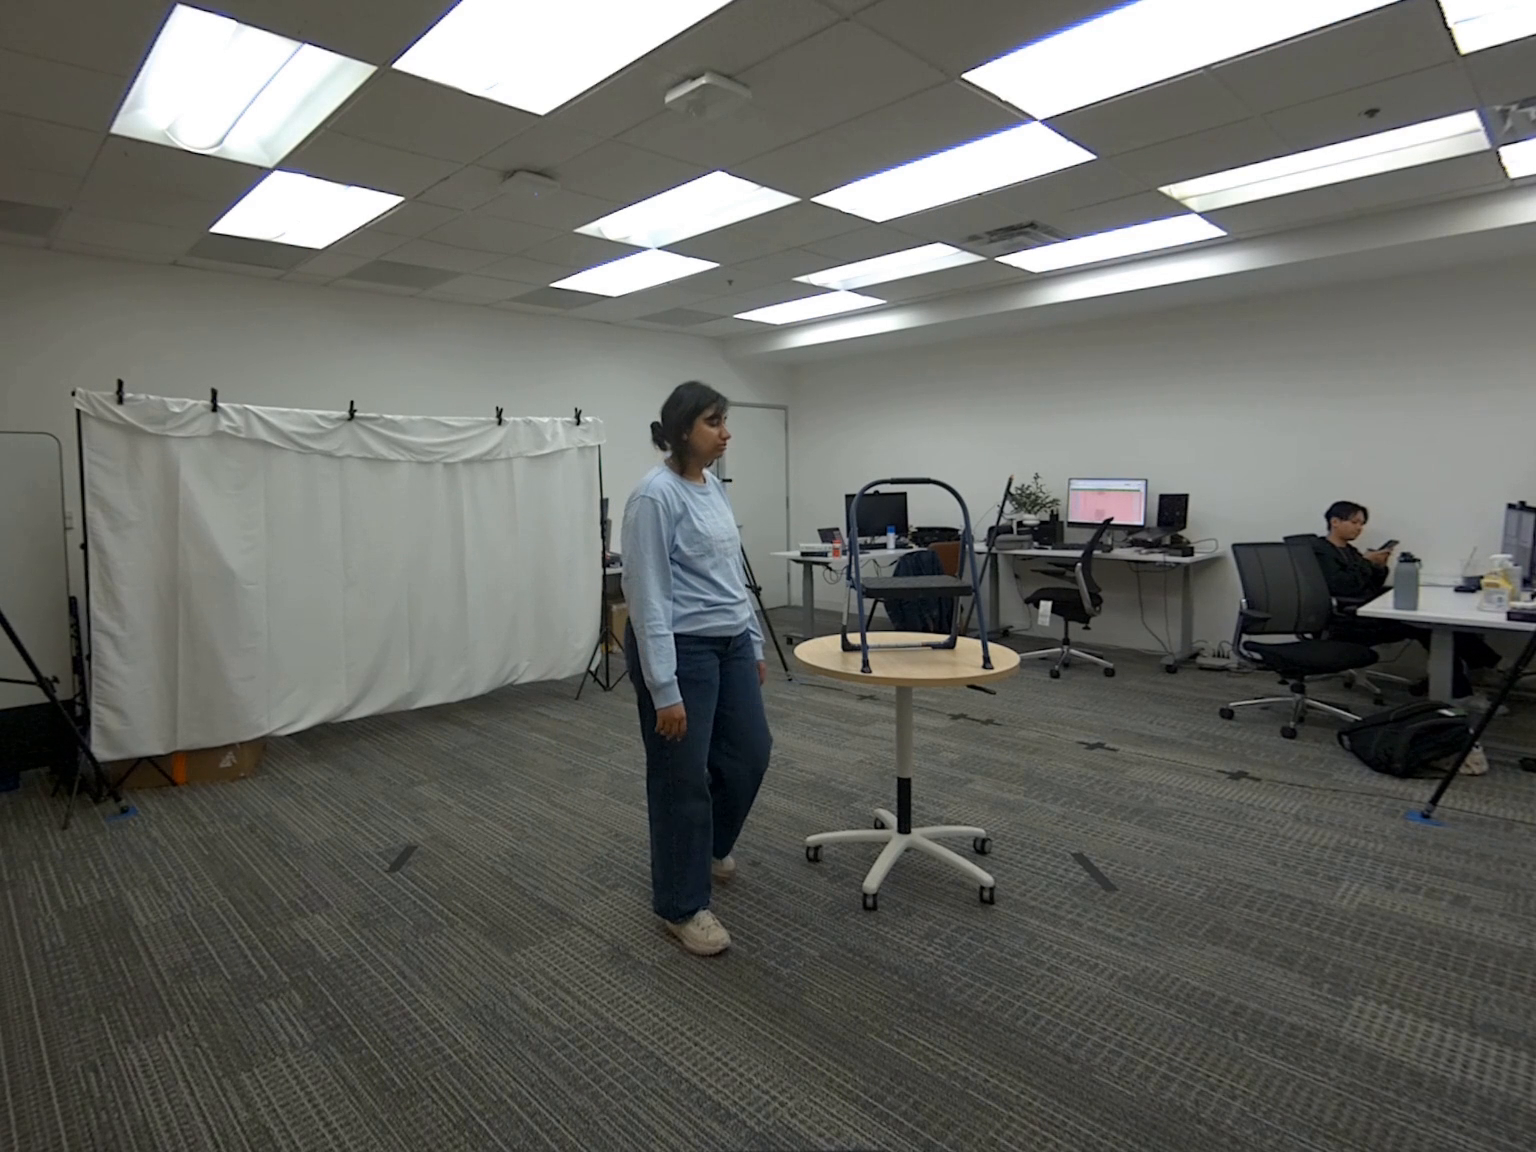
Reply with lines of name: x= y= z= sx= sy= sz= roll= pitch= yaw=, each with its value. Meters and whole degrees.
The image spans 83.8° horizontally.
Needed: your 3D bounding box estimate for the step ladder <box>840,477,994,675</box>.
step ladder: x=0.488 y=-0.021 z=2.848 sx=0.428 sy=0.603 sz=0.353 roll=-2 pitch=6 yaw=-7
